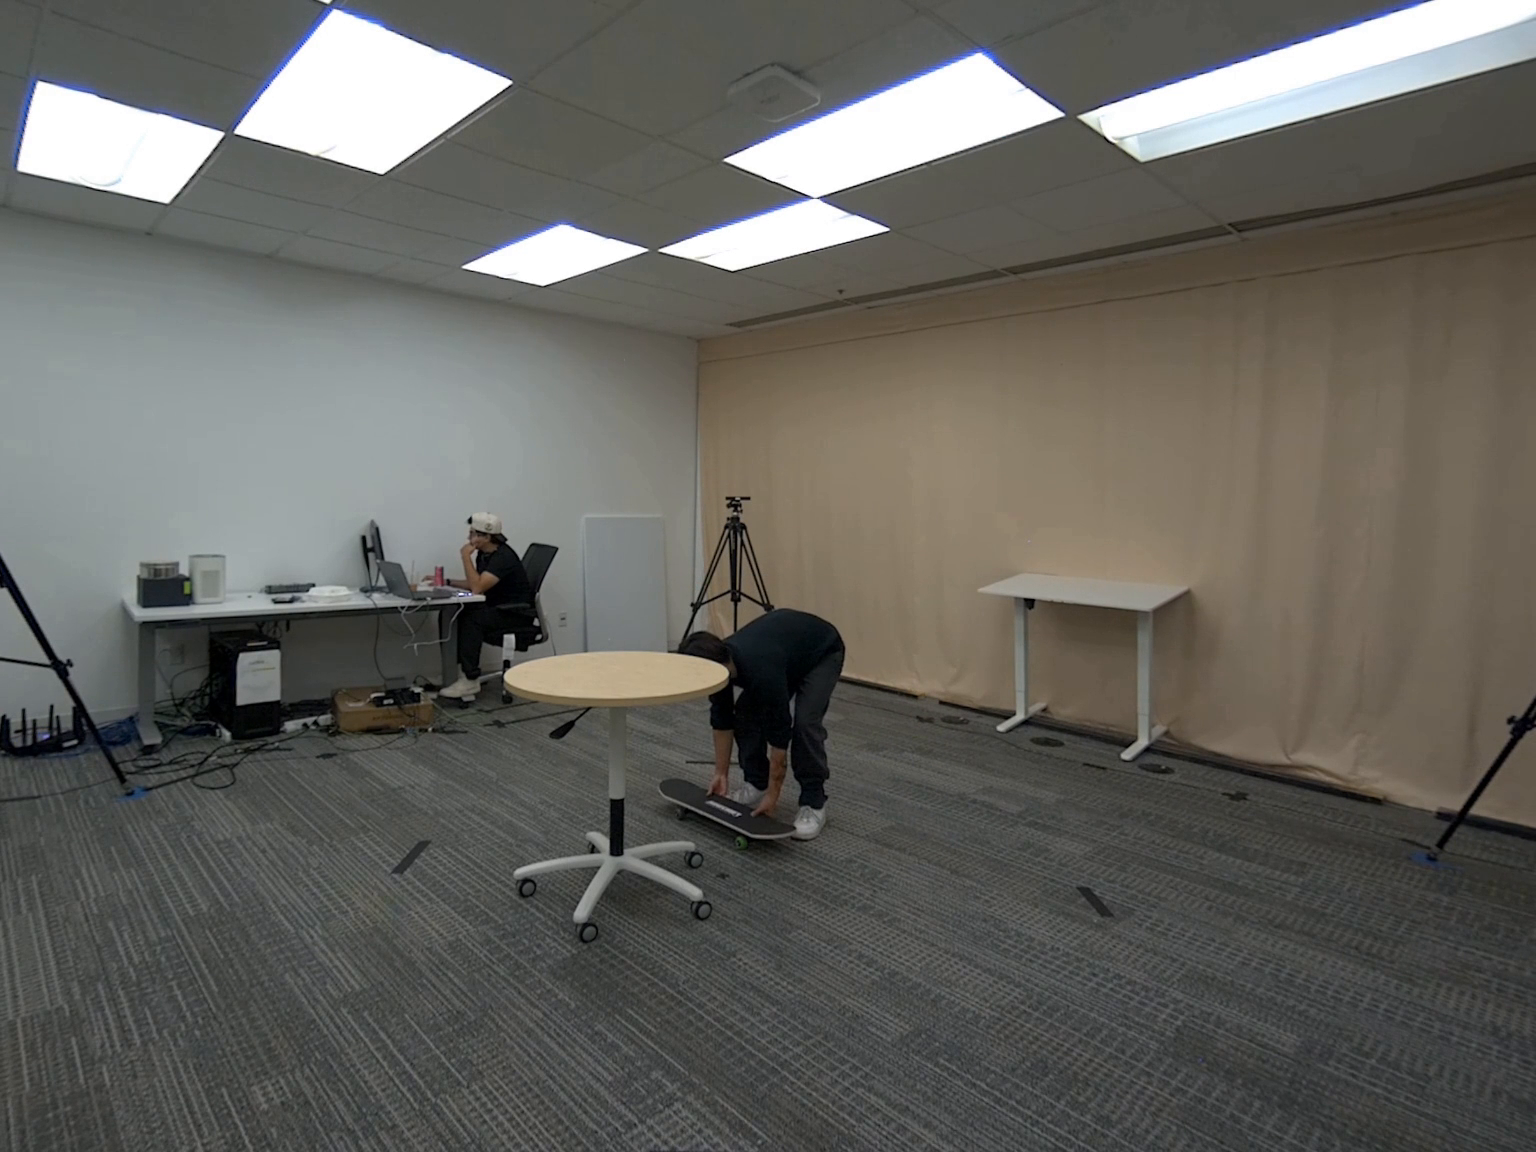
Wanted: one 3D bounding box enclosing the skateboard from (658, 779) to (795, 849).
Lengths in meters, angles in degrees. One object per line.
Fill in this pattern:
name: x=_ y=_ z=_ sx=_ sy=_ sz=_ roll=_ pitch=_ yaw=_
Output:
skateboard: x=-0.198 y=1.008 z=3.545 sx=0.189 sy=0.110 sz=0.806 roll=-2 pitch=6 yaw=-42
